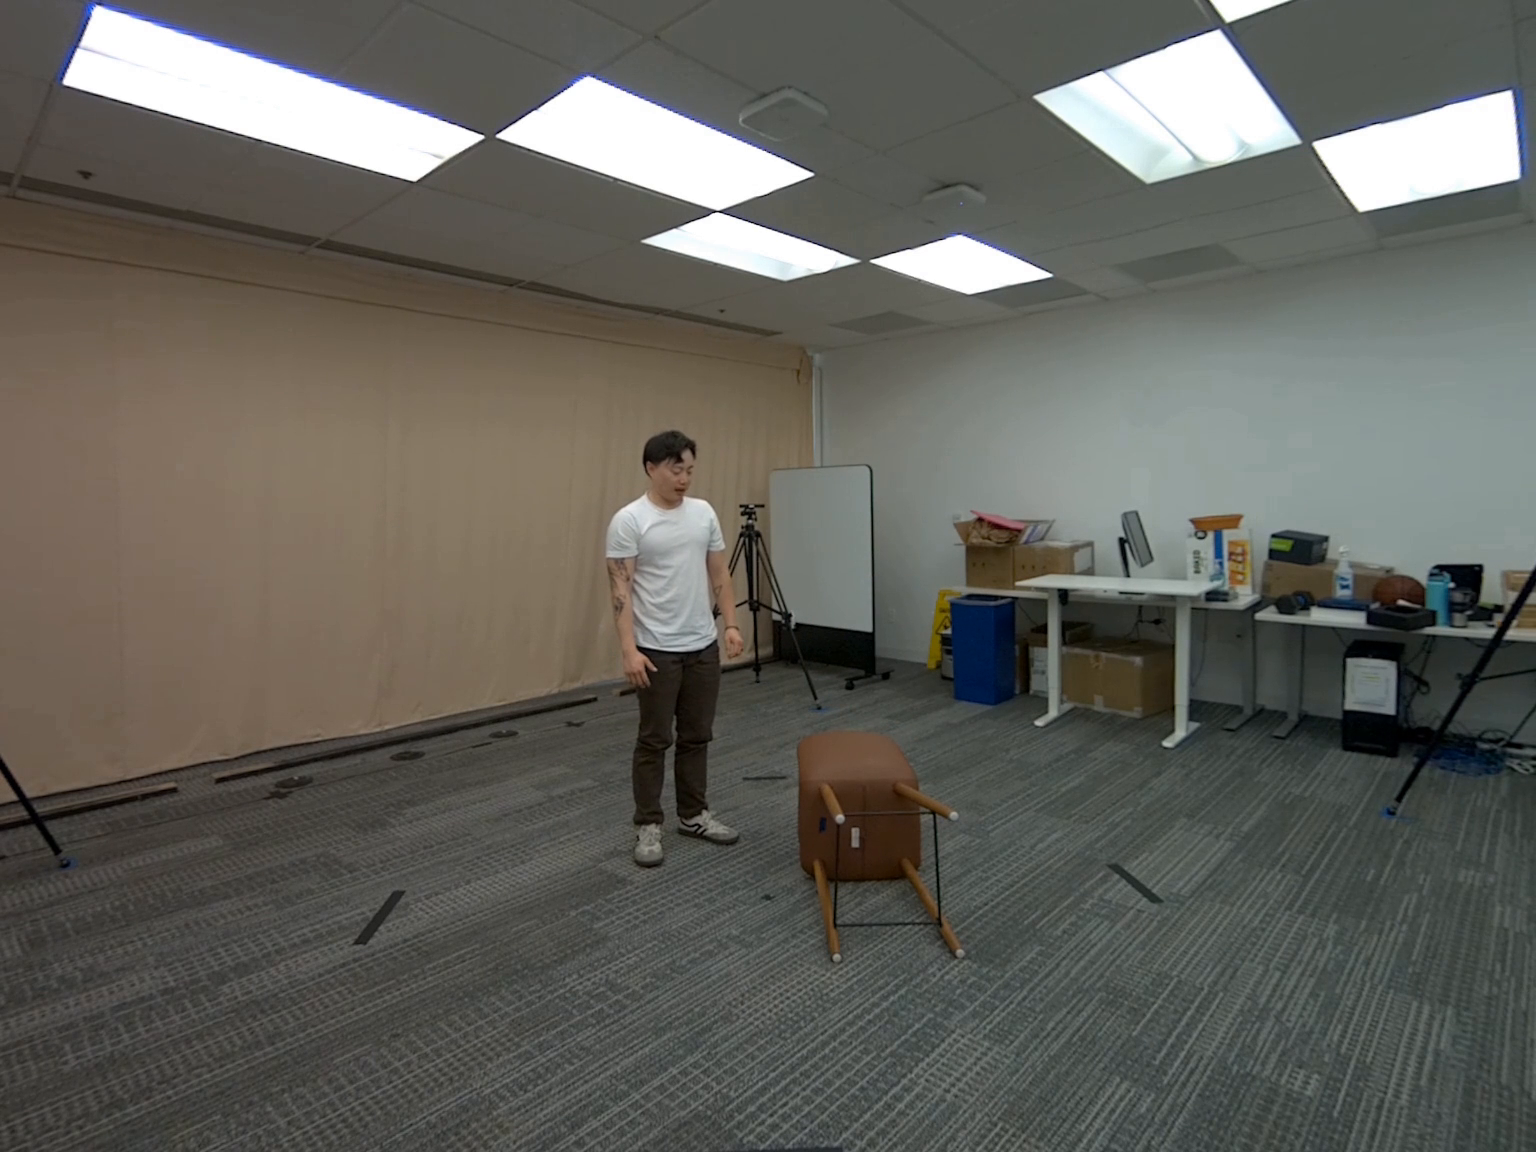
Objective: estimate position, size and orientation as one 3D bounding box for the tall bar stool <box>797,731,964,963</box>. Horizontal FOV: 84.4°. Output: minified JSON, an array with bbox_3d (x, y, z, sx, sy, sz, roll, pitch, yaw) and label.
[{"bbox_3d":[0.357,0.901,2.983,0.455,0.466,0.896,-1,6,-5],"label":"tall bar stool"}]
